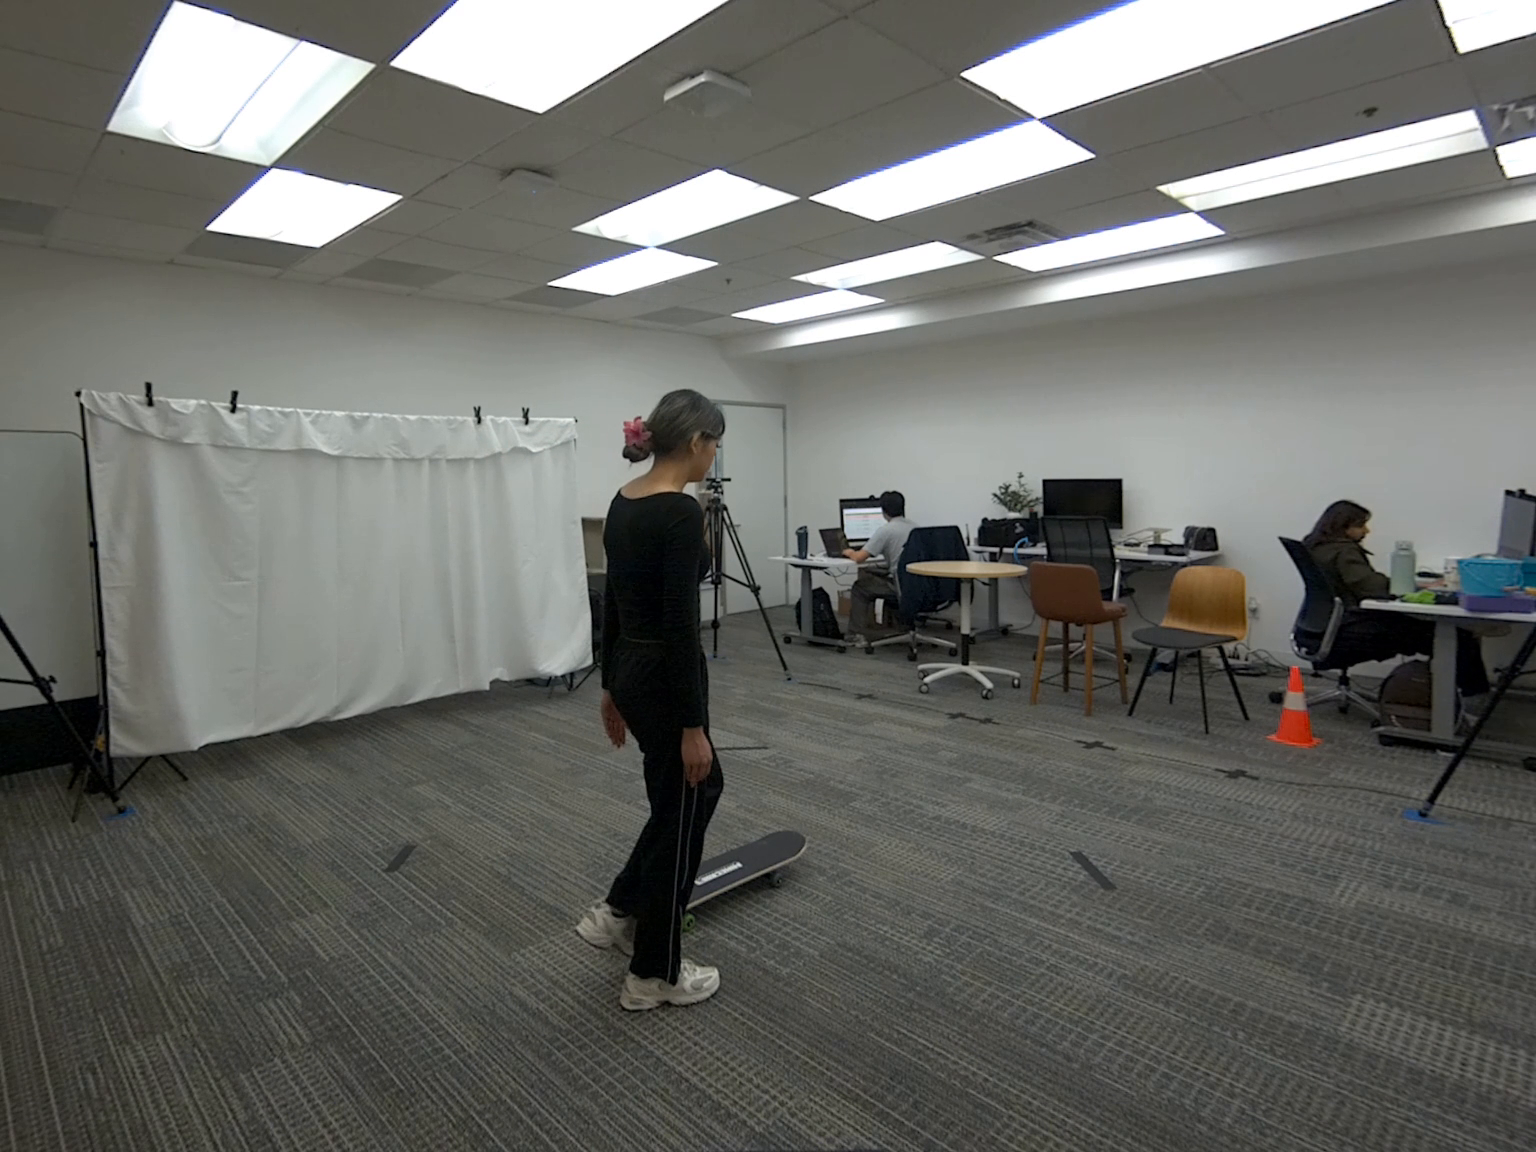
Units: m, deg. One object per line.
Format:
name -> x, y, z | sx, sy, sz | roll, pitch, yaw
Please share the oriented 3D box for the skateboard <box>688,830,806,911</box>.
skateboard -> -0.166, 1.020, 2.842 | 0.765, 0.110, 0.199 | -7, 9, -43
